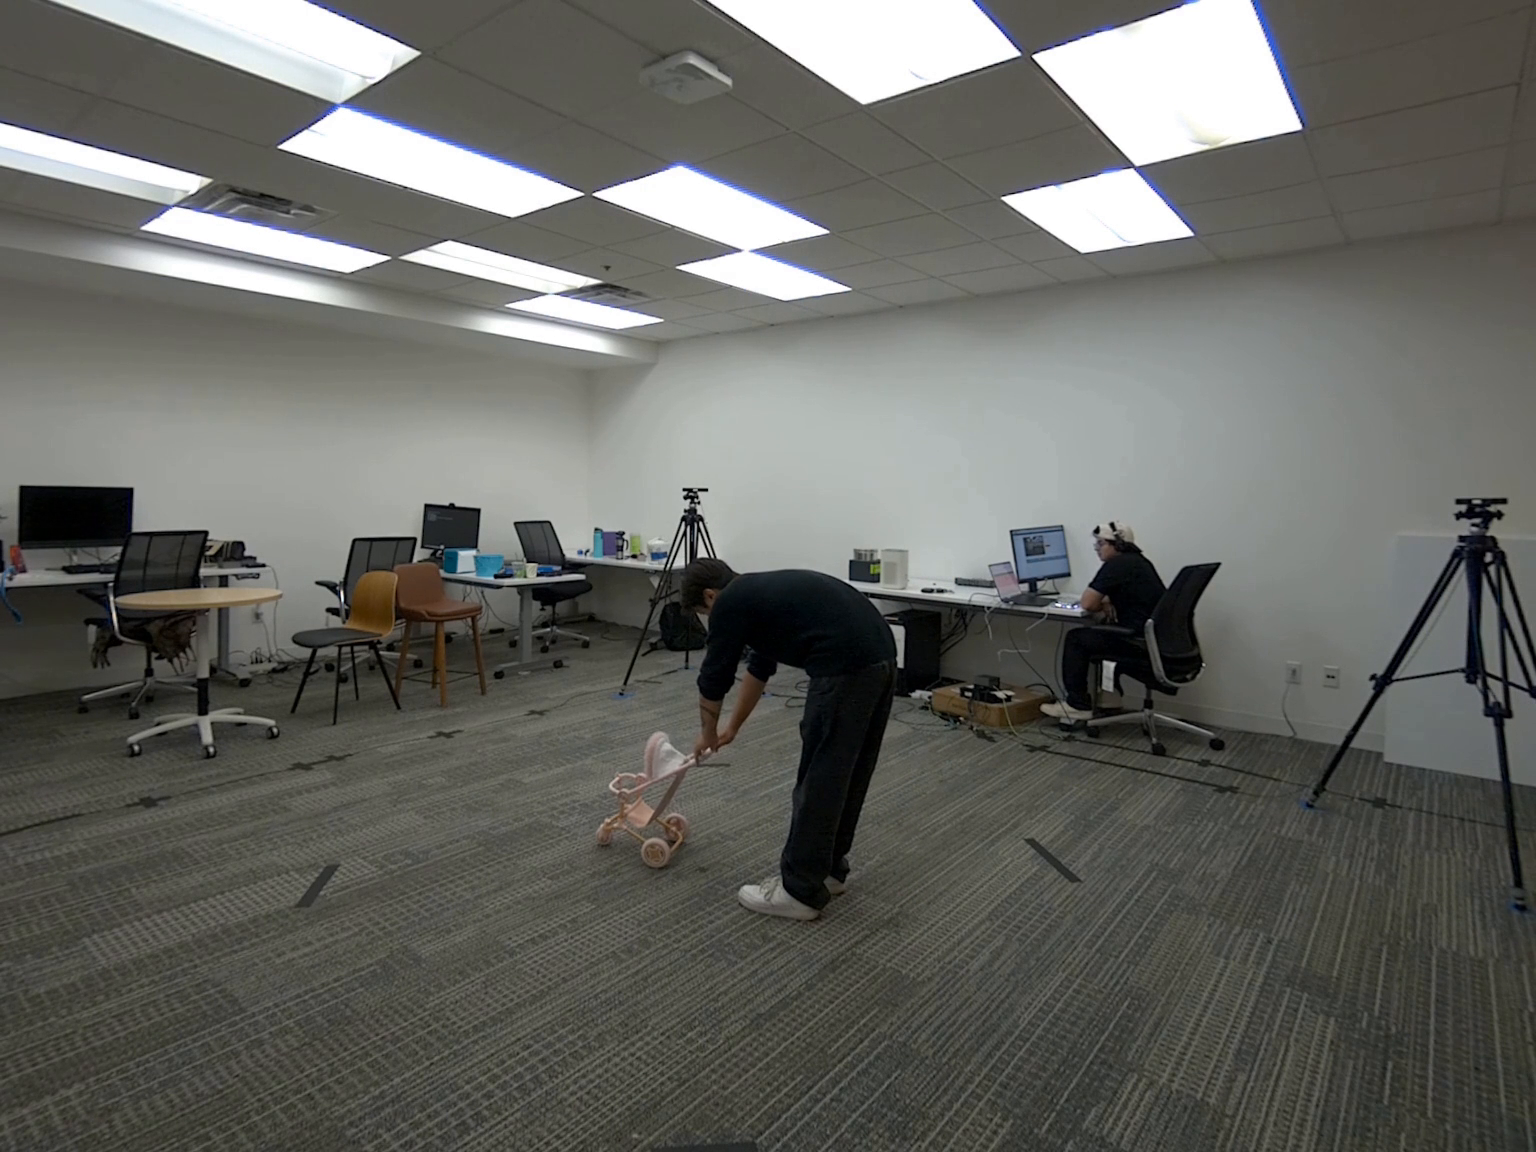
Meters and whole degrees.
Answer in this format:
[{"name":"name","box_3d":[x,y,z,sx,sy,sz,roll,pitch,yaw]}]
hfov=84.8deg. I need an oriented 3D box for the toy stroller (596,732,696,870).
[{"name":"toy stroller","box_3d":[-0.450,0.829,3.244,0.349,0.532,0.276,20,8,17]}]
